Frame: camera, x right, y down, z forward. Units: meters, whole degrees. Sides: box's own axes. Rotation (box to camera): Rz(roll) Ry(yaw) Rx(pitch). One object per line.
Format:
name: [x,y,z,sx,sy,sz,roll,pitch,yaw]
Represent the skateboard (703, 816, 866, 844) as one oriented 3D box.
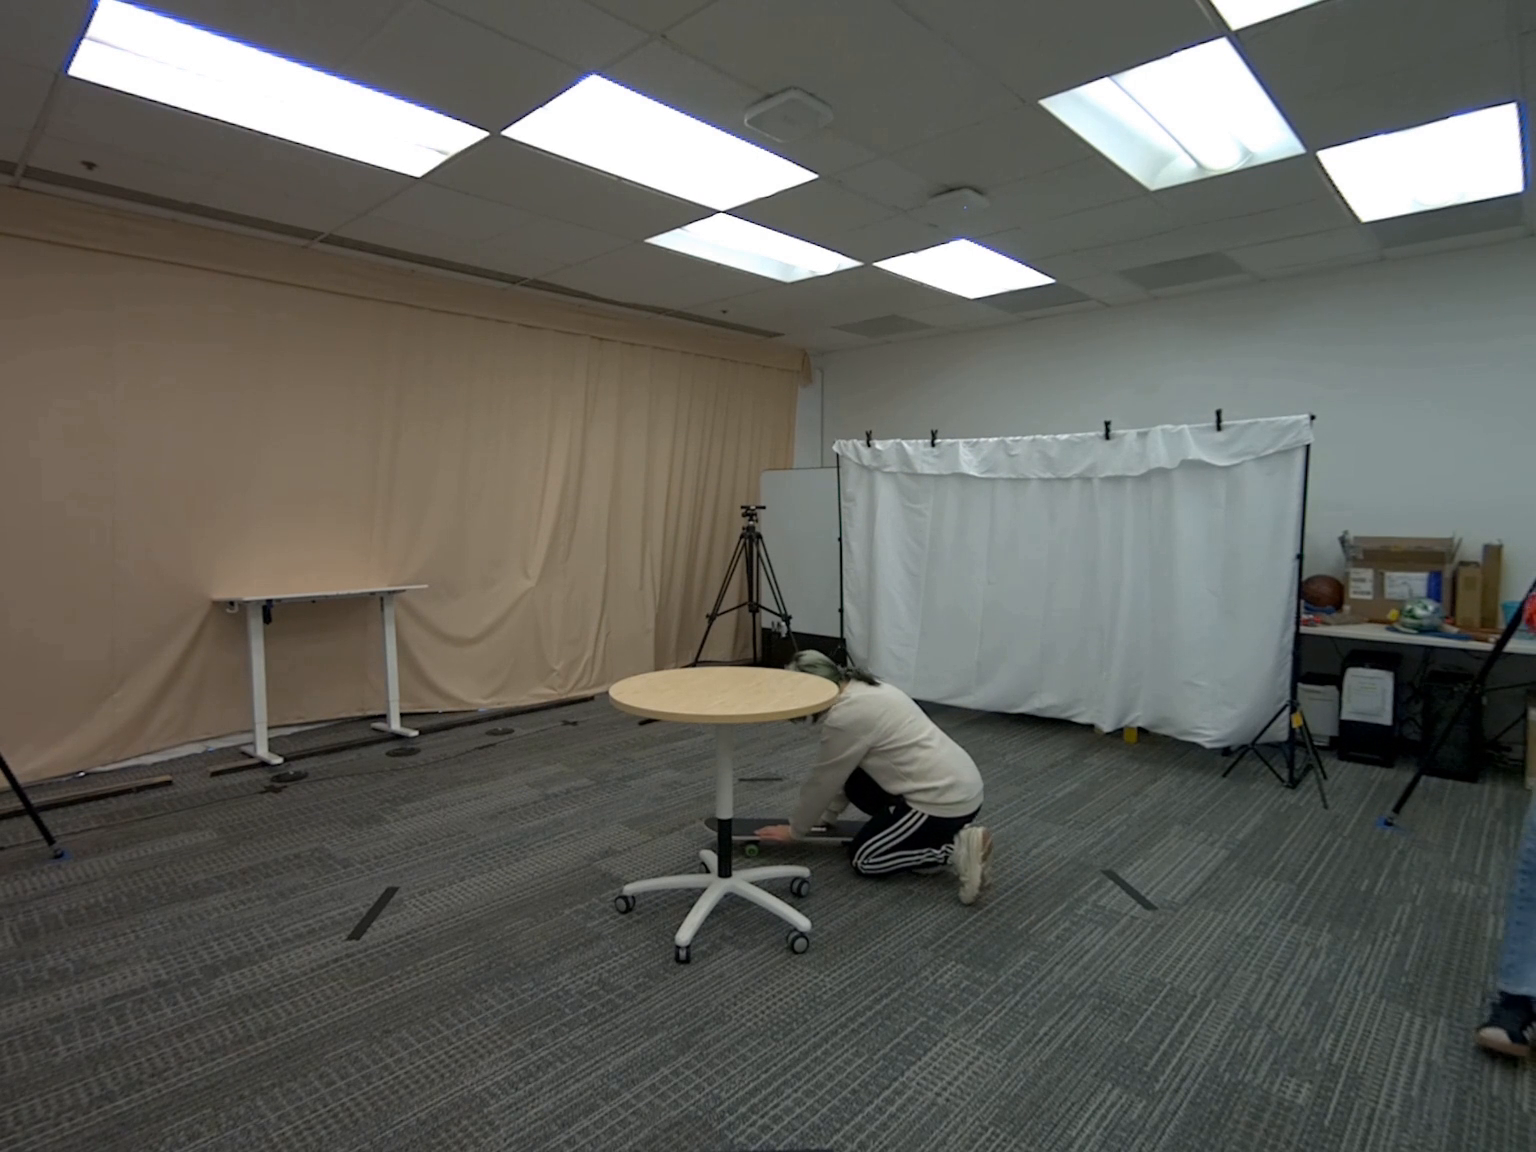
skateboard: [0.128,1.051,3.401,0.786,0.110,0.194,0,5,0]
